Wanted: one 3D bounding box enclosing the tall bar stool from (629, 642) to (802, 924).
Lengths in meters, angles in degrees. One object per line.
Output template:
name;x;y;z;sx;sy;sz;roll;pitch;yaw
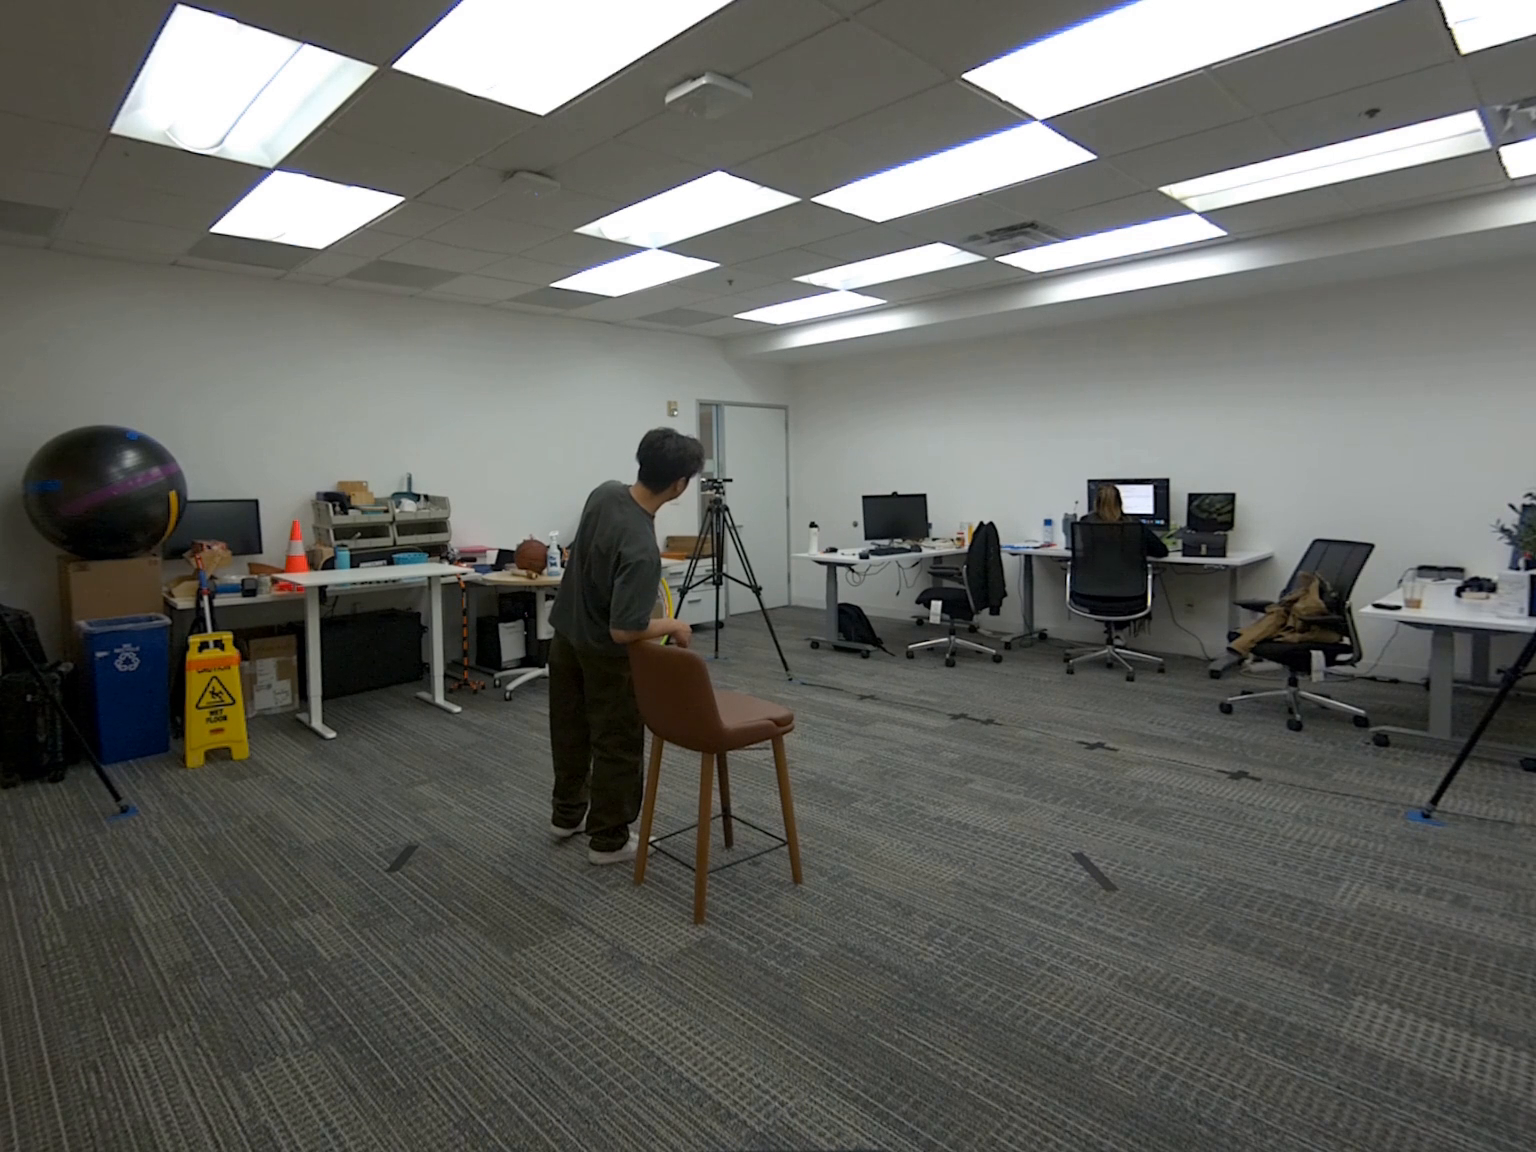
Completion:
tall bar stool;-0.187;0.630;2.930;0.456;0.885;0.470;-7;7;-40
